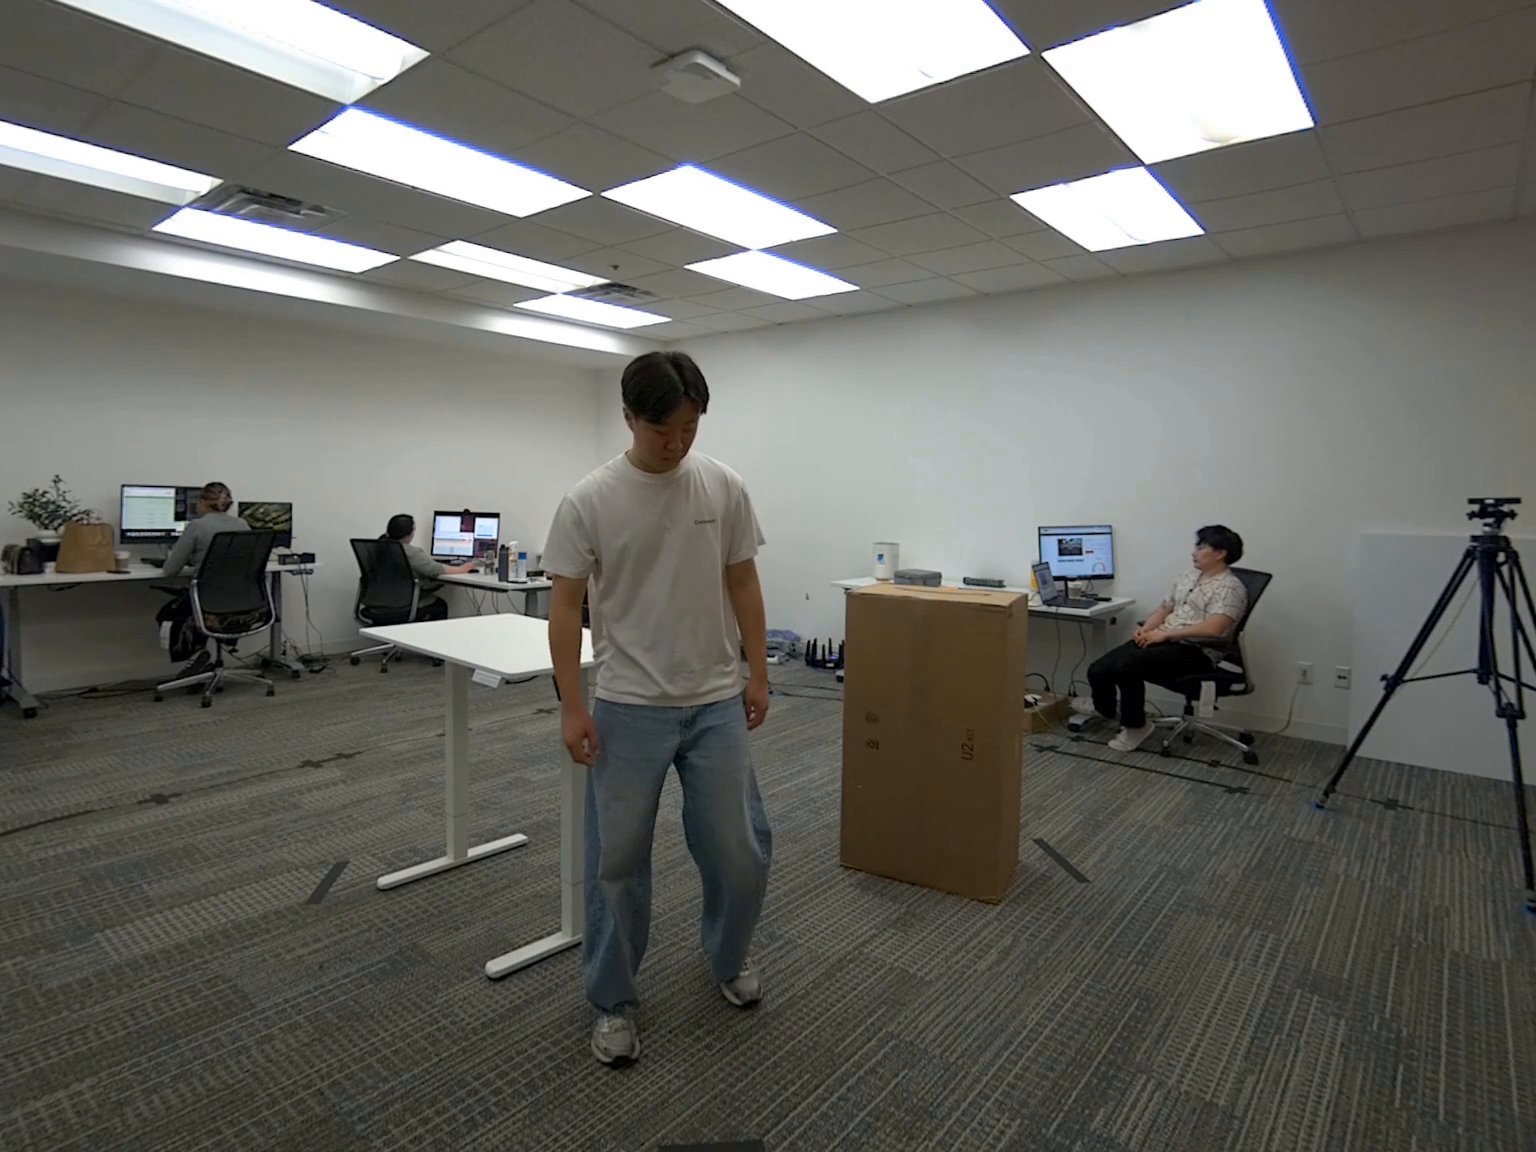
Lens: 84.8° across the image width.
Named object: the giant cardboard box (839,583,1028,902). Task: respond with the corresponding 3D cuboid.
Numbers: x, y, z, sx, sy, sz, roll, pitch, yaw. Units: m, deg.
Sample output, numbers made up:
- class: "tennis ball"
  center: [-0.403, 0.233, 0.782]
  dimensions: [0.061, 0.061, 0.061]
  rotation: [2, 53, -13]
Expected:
- class: "giant cardboard box"
  center: [0.612, 0.566, 3.178]
  dimensions: [0.594, 1.023, 0.415]
  rotation: [3, 4, 28]
